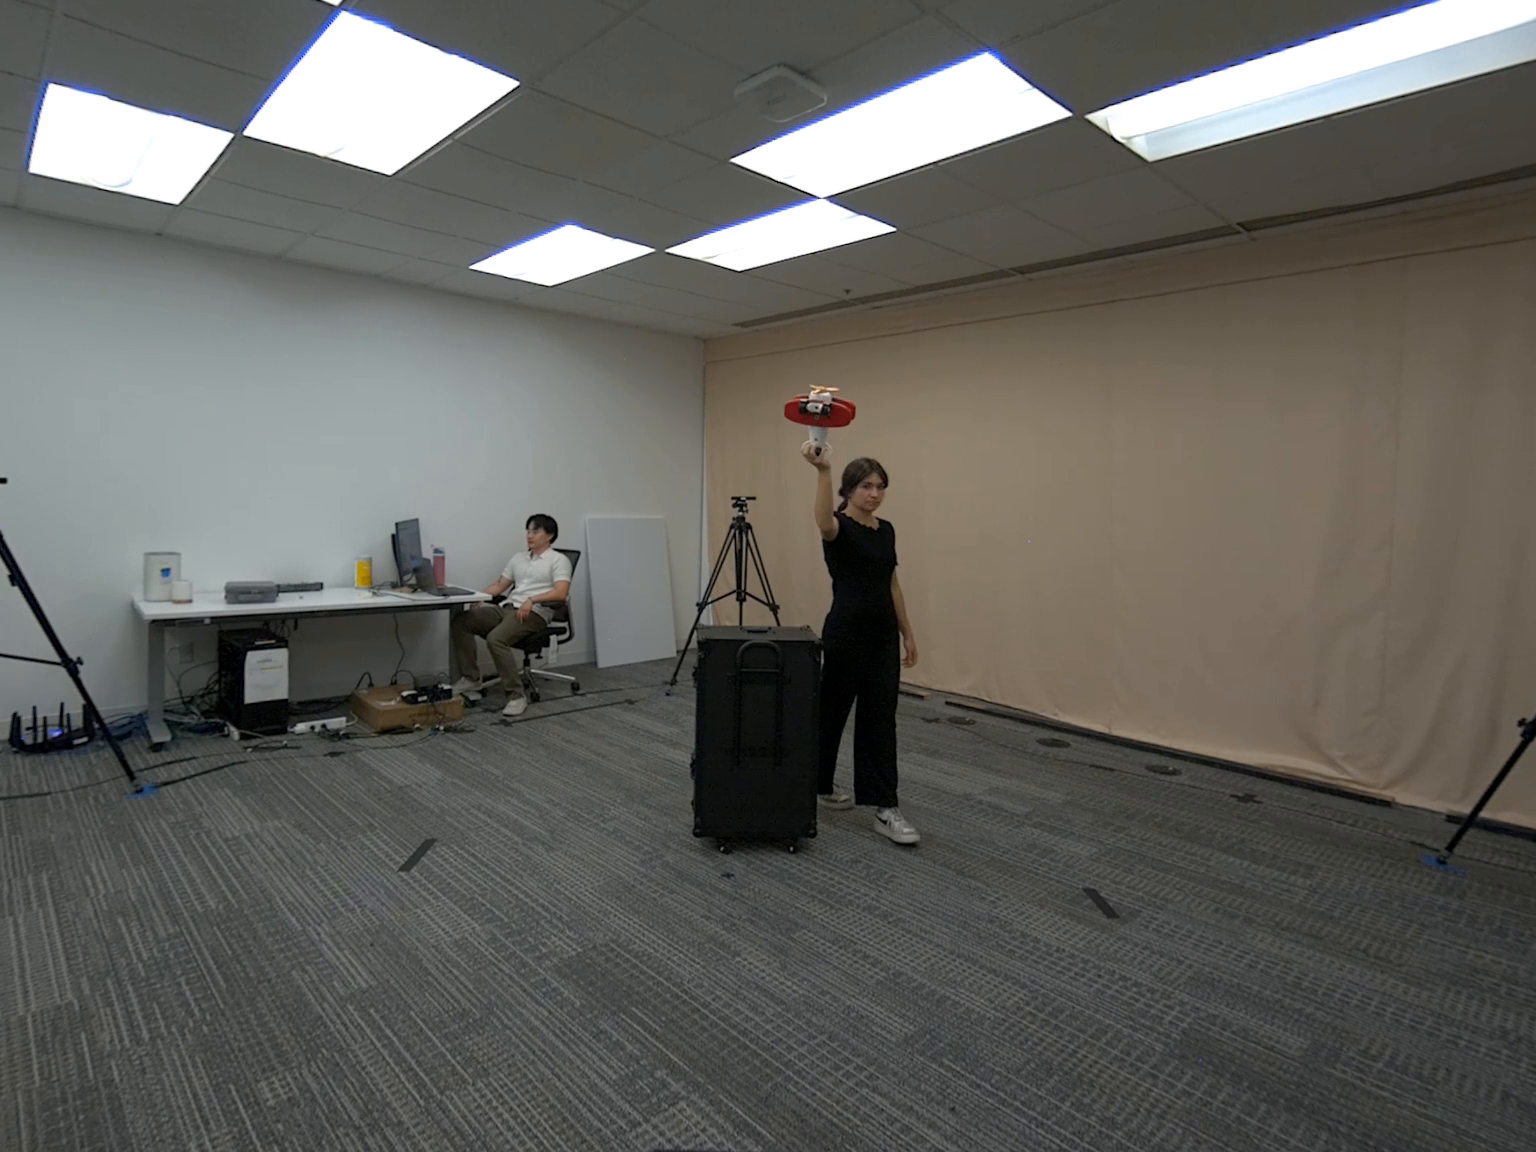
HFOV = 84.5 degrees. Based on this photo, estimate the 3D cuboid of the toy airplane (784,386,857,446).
[{"bbox_3d":[0.169,-0.586,3.162,0.251,0.258,0.157,32,43,-1],"label":"toy airplane"}]
